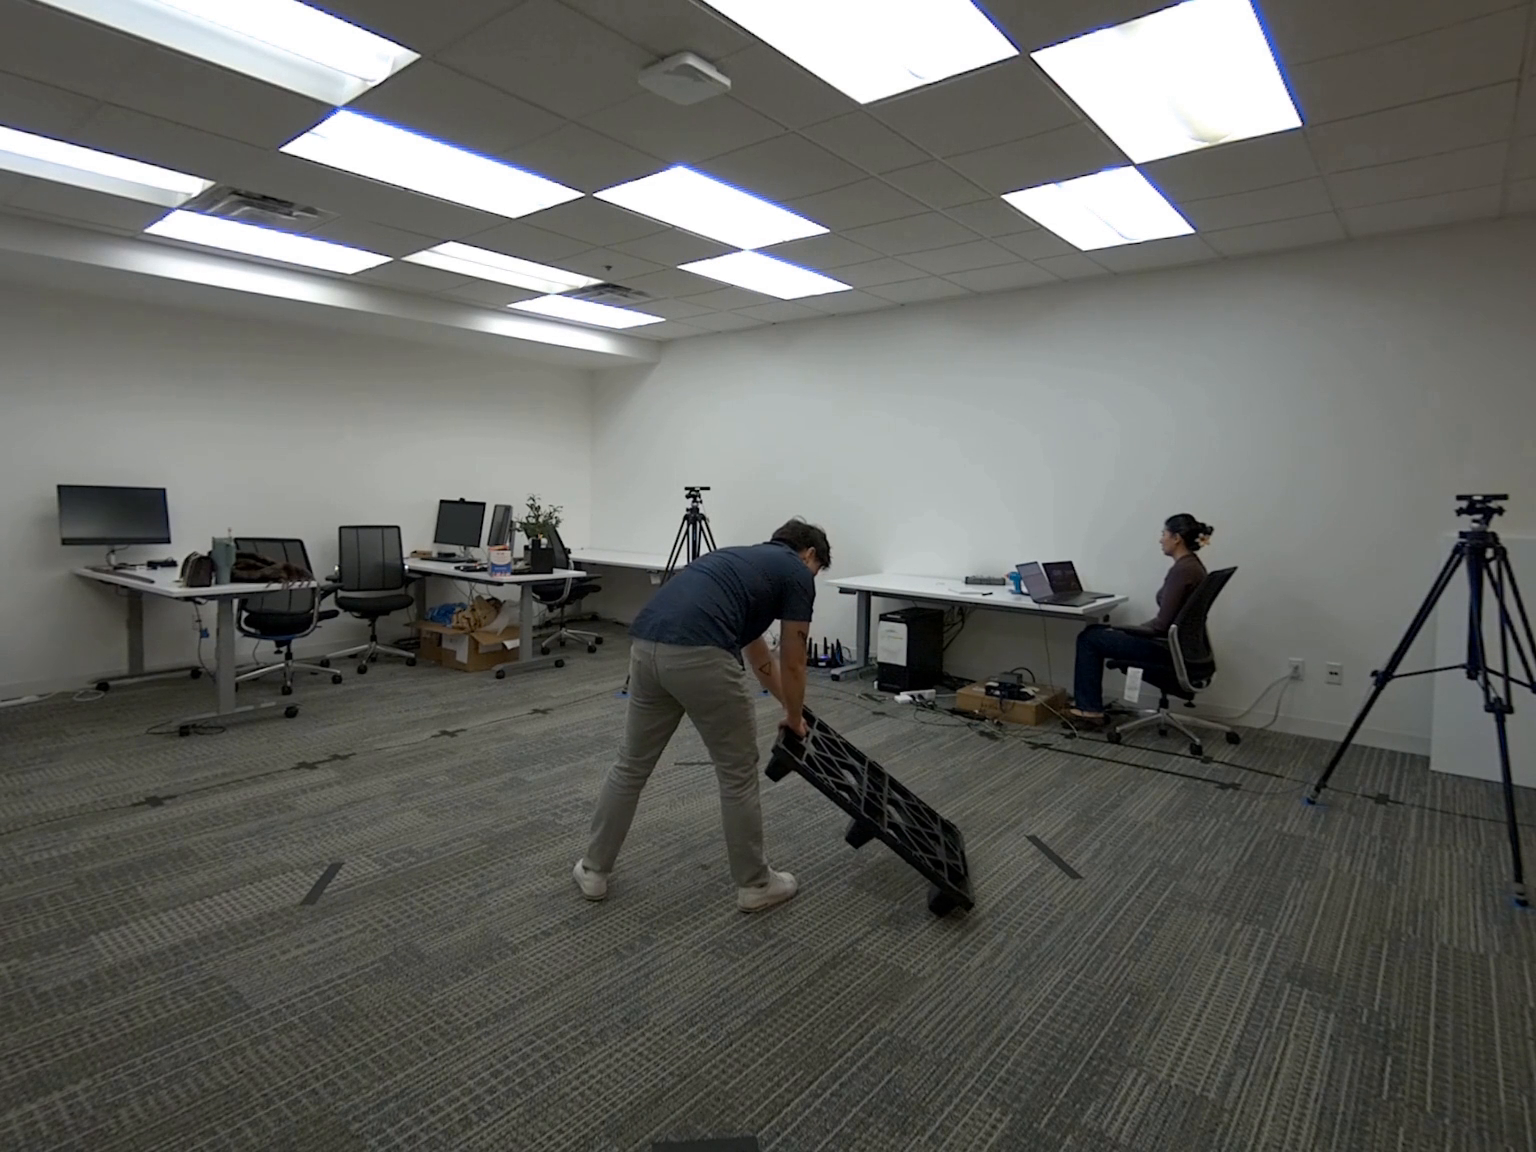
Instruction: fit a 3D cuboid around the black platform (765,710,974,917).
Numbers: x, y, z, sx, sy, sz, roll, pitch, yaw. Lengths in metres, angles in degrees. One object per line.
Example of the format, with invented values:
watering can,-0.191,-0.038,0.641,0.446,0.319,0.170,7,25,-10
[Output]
black platform,0.336,0.807,3.051,0.815,0.143,0.599,38,8,7
